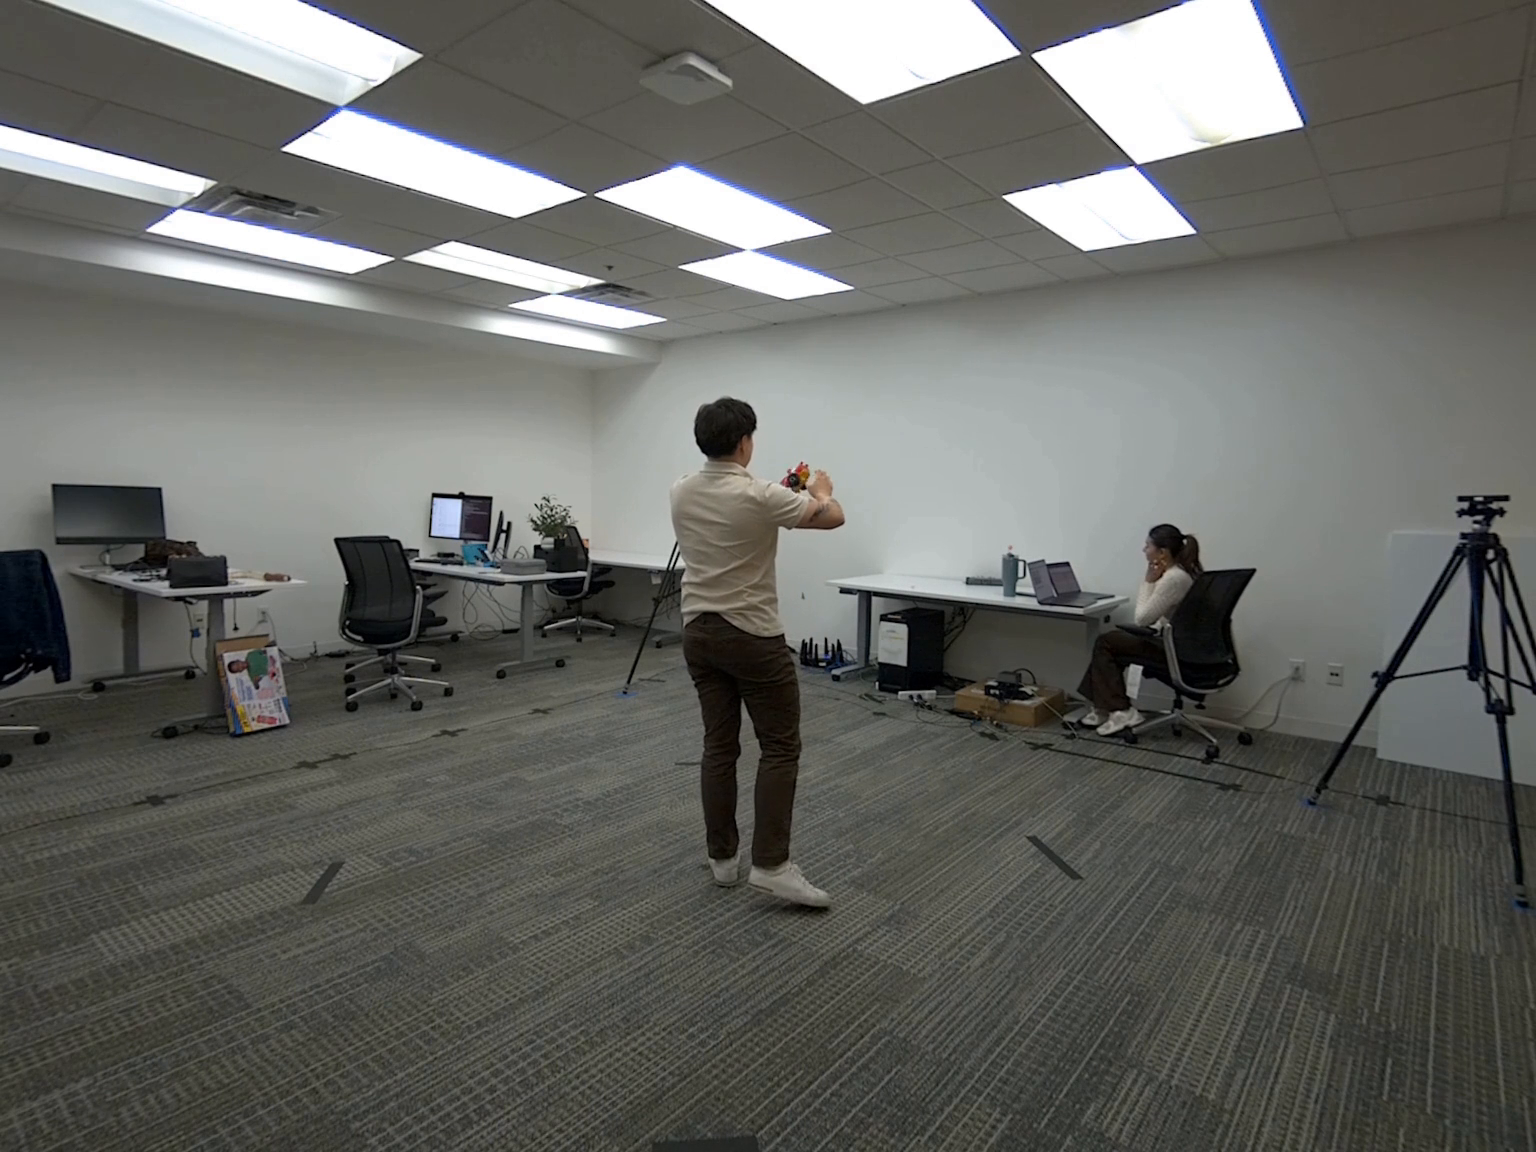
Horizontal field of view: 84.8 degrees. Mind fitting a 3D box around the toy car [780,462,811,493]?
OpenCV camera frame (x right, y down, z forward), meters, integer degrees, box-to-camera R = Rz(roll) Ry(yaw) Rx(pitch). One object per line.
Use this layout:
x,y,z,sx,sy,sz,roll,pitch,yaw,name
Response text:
0.081,-0.348,3.411,0.086,0.253,0.126,32,10,26,toy car
